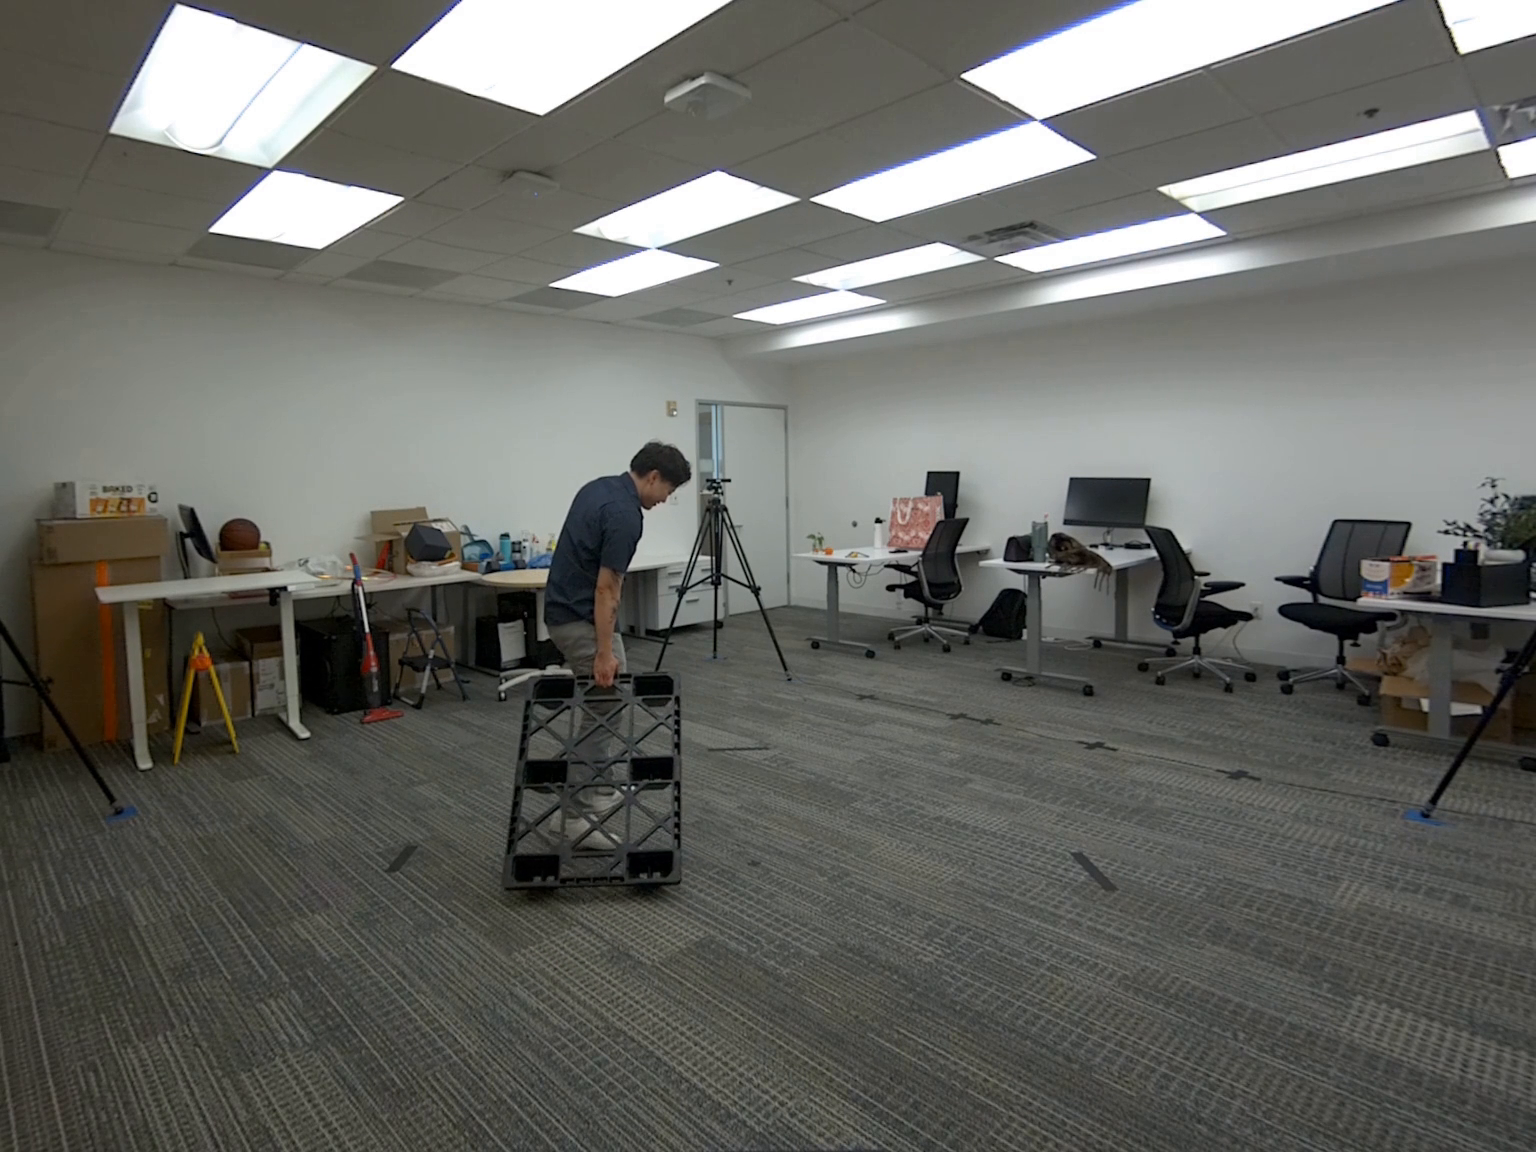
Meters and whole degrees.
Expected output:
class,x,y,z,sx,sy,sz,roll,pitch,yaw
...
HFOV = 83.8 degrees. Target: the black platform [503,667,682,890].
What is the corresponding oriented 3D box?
class,x,y,z,sx,sy,sz,roll,pitch,yaw
black platform,-0.614,0.736,3.128,0.604,0.828,0.139,-2,-38,-2
